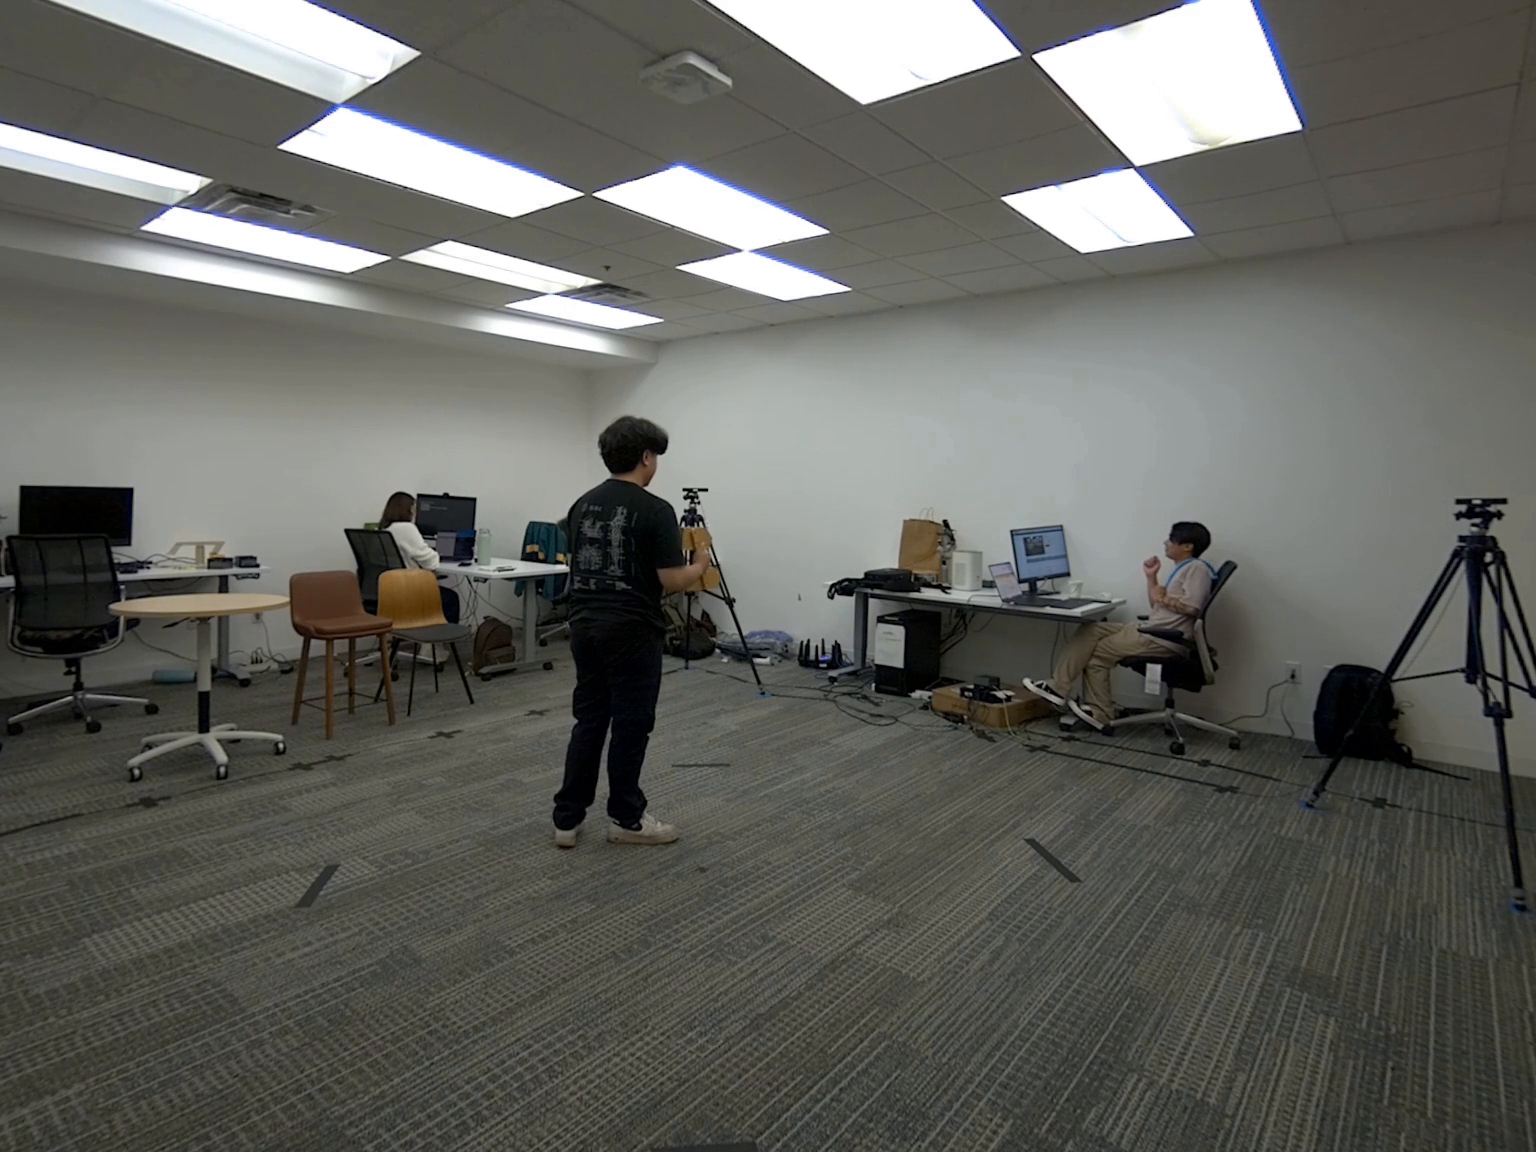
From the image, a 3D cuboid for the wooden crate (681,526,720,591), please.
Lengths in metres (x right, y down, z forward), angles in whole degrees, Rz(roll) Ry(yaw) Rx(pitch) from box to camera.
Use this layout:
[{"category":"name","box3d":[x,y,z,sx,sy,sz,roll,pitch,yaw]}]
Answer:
[{"category":"wooden crate","box3d":[-0.408,-0.096,3.588,0.335,0.272,0.294,8,6,31]}]
